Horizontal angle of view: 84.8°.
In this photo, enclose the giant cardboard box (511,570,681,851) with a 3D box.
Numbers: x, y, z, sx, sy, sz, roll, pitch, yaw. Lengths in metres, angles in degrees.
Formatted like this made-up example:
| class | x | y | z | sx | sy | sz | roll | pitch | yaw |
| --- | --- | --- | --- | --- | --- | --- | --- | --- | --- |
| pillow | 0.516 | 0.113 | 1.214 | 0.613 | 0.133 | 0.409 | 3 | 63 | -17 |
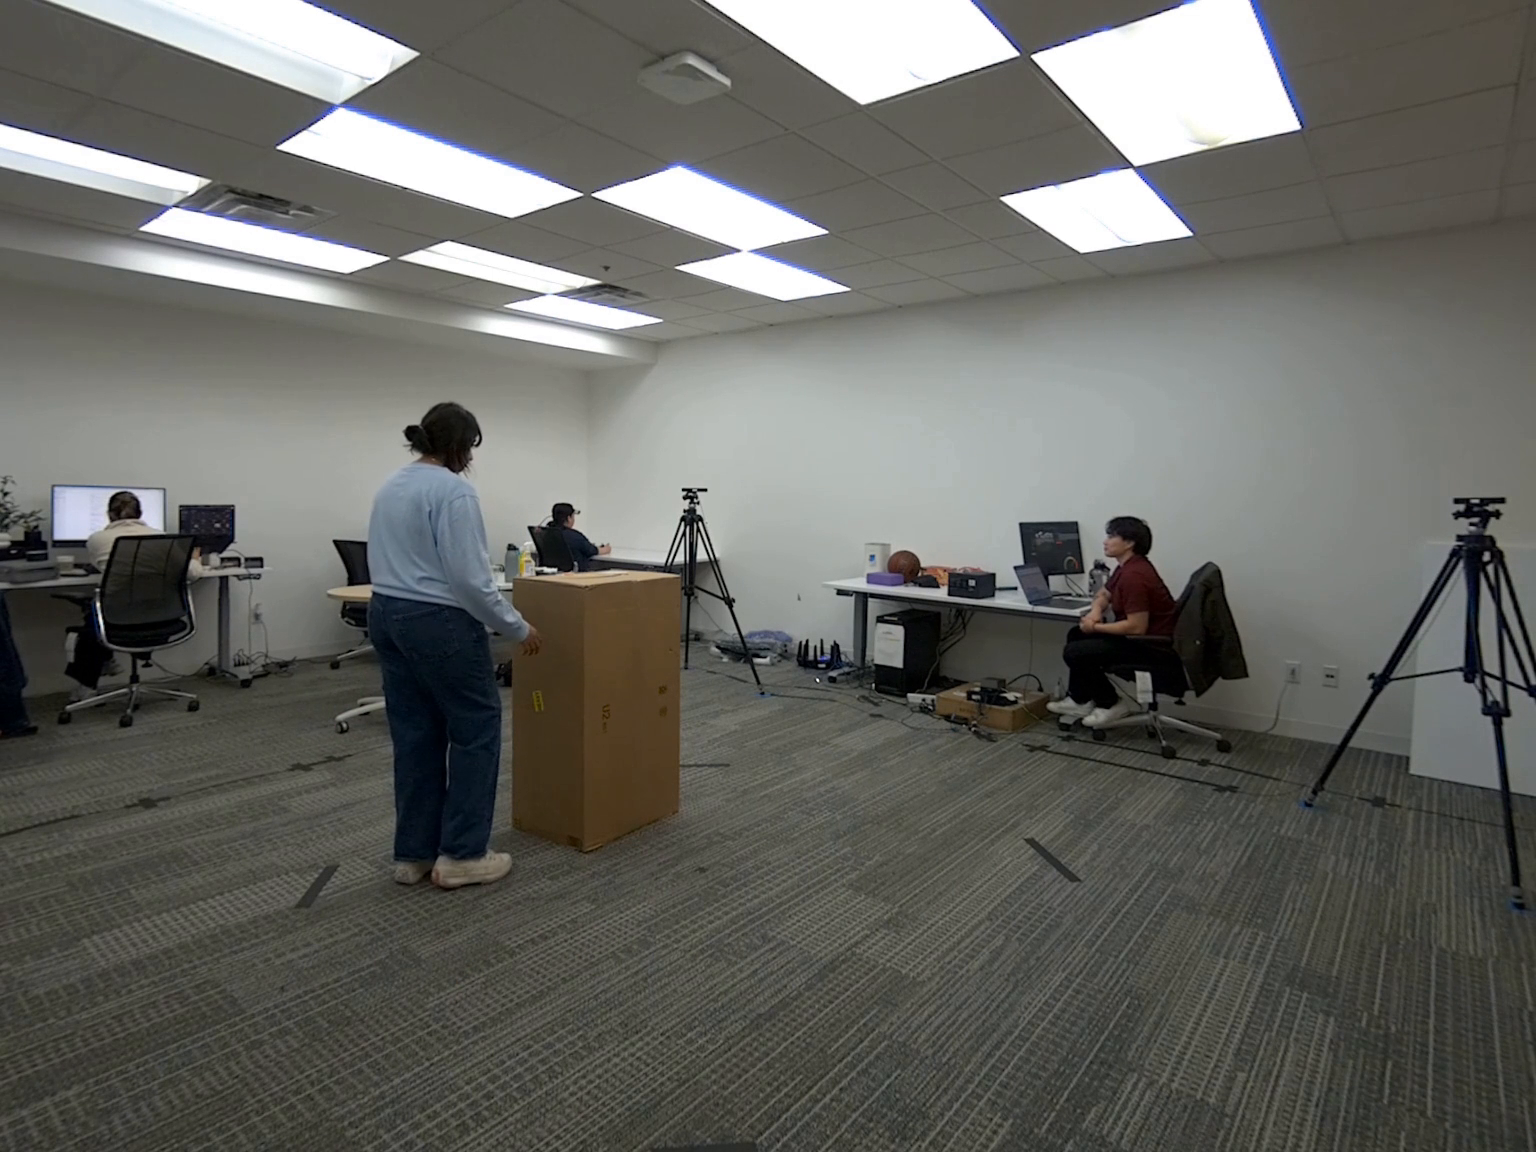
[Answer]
| class | x | y | z | sx | sy | sz | roll | pitch | yaw |
| --- | --- | --- | --- | --- | --- | --- | --- | --- | --- |
| giant cardboard box | -0.721 | 0.512 | 3.562 | 0.440 | 1.023 | 0.561 | 3 | 4 | 35 |
